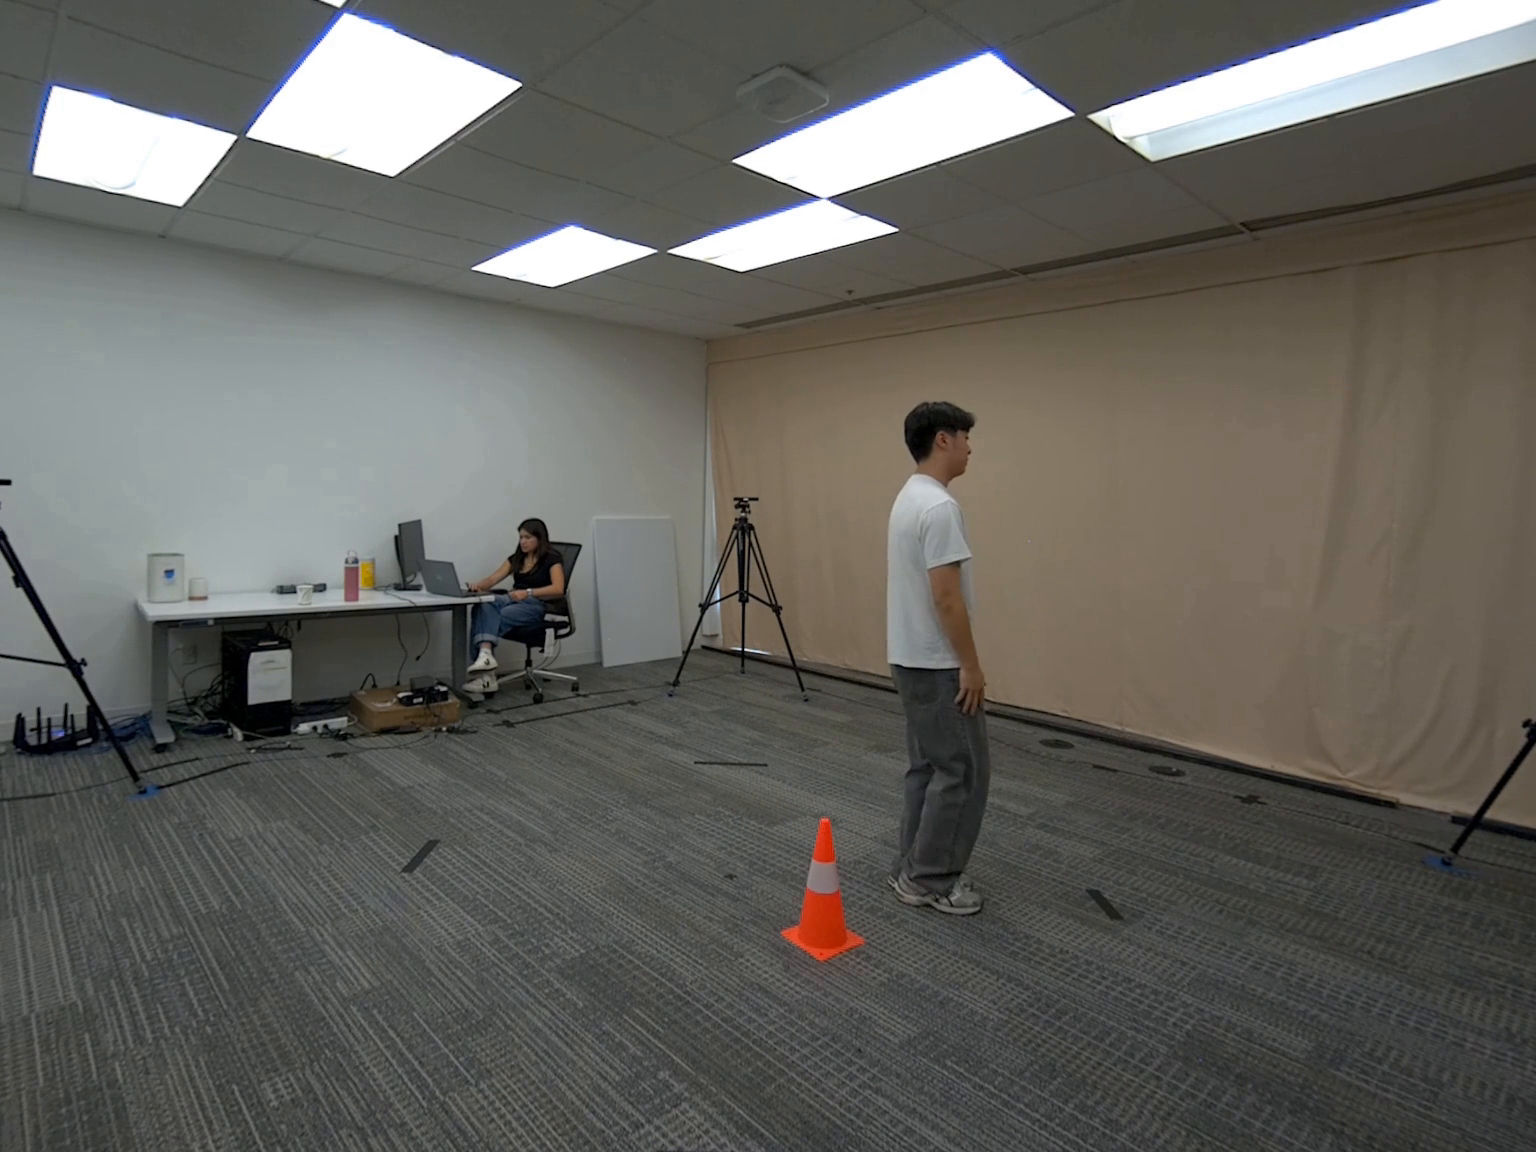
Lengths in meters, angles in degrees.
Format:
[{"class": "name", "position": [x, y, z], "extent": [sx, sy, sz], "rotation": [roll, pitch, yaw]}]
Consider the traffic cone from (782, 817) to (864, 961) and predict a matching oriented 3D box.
[{"class": "traffic cone", "position": [0.172, 0.972, 2.669], "extent": [0.199, 0.383, 0.210], "rotation": [-1, 4, -40]}]
